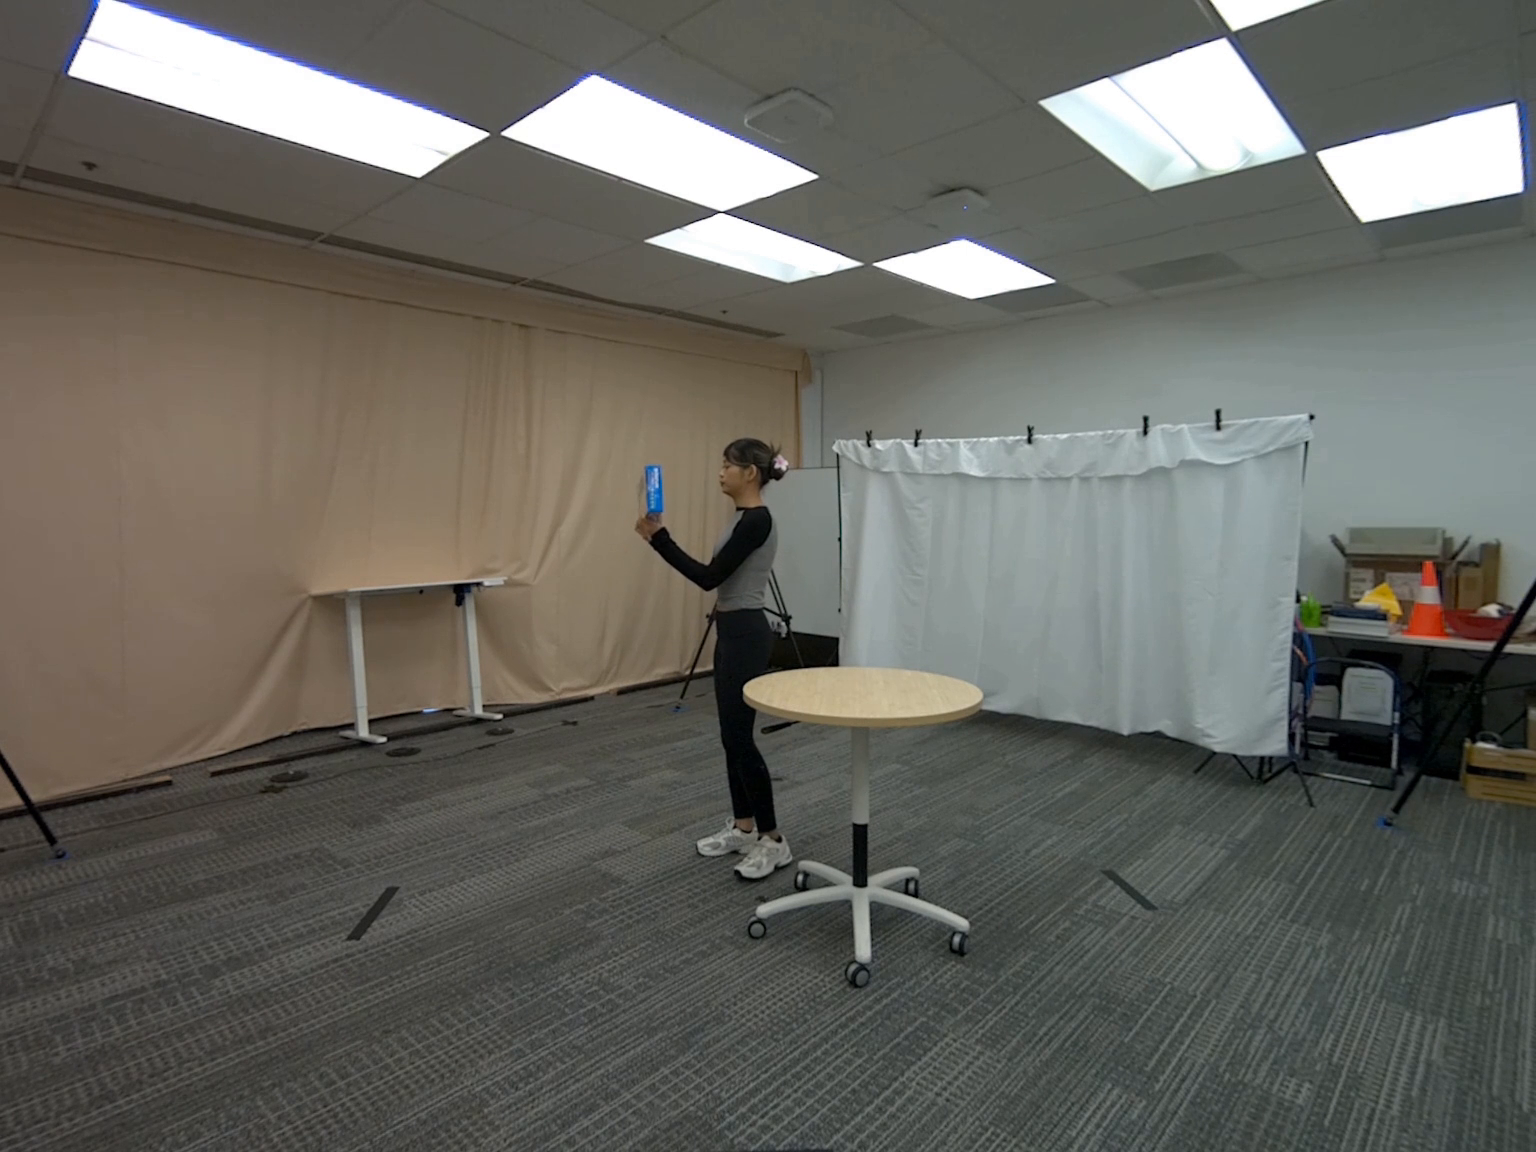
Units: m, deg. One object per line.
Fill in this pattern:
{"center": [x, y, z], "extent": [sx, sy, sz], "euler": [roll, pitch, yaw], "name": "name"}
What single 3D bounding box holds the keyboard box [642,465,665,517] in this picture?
{"center": [-0.460, -0.301, 3.276], "extent": [0.058, 0.176, 0.440], "euler": [-2, -4, -13], "name": "keyboard box"}
